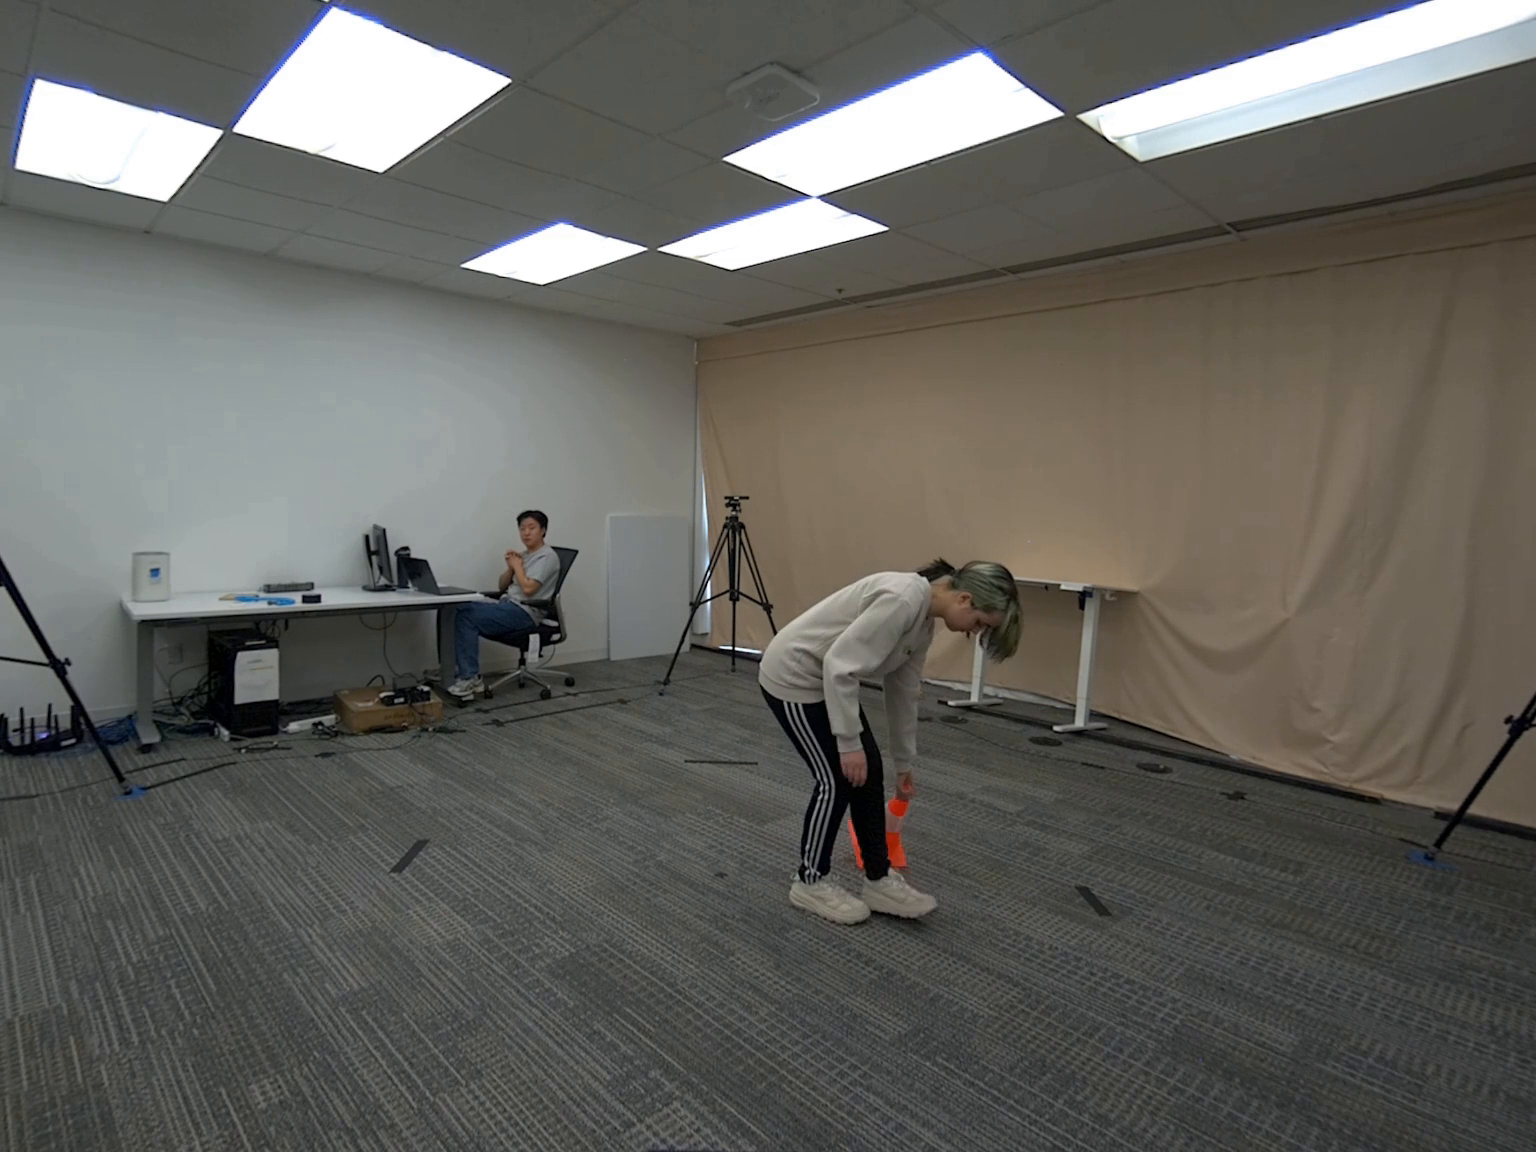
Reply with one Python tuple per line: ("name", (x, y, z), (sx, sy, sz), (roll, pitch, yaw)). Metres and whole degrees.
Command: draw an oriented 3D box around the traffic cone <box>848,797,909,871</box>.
("traffic cone", (0.460, 0.904, 3.126), (0.202, 0.378, 0.209), (3, 44, -15))
